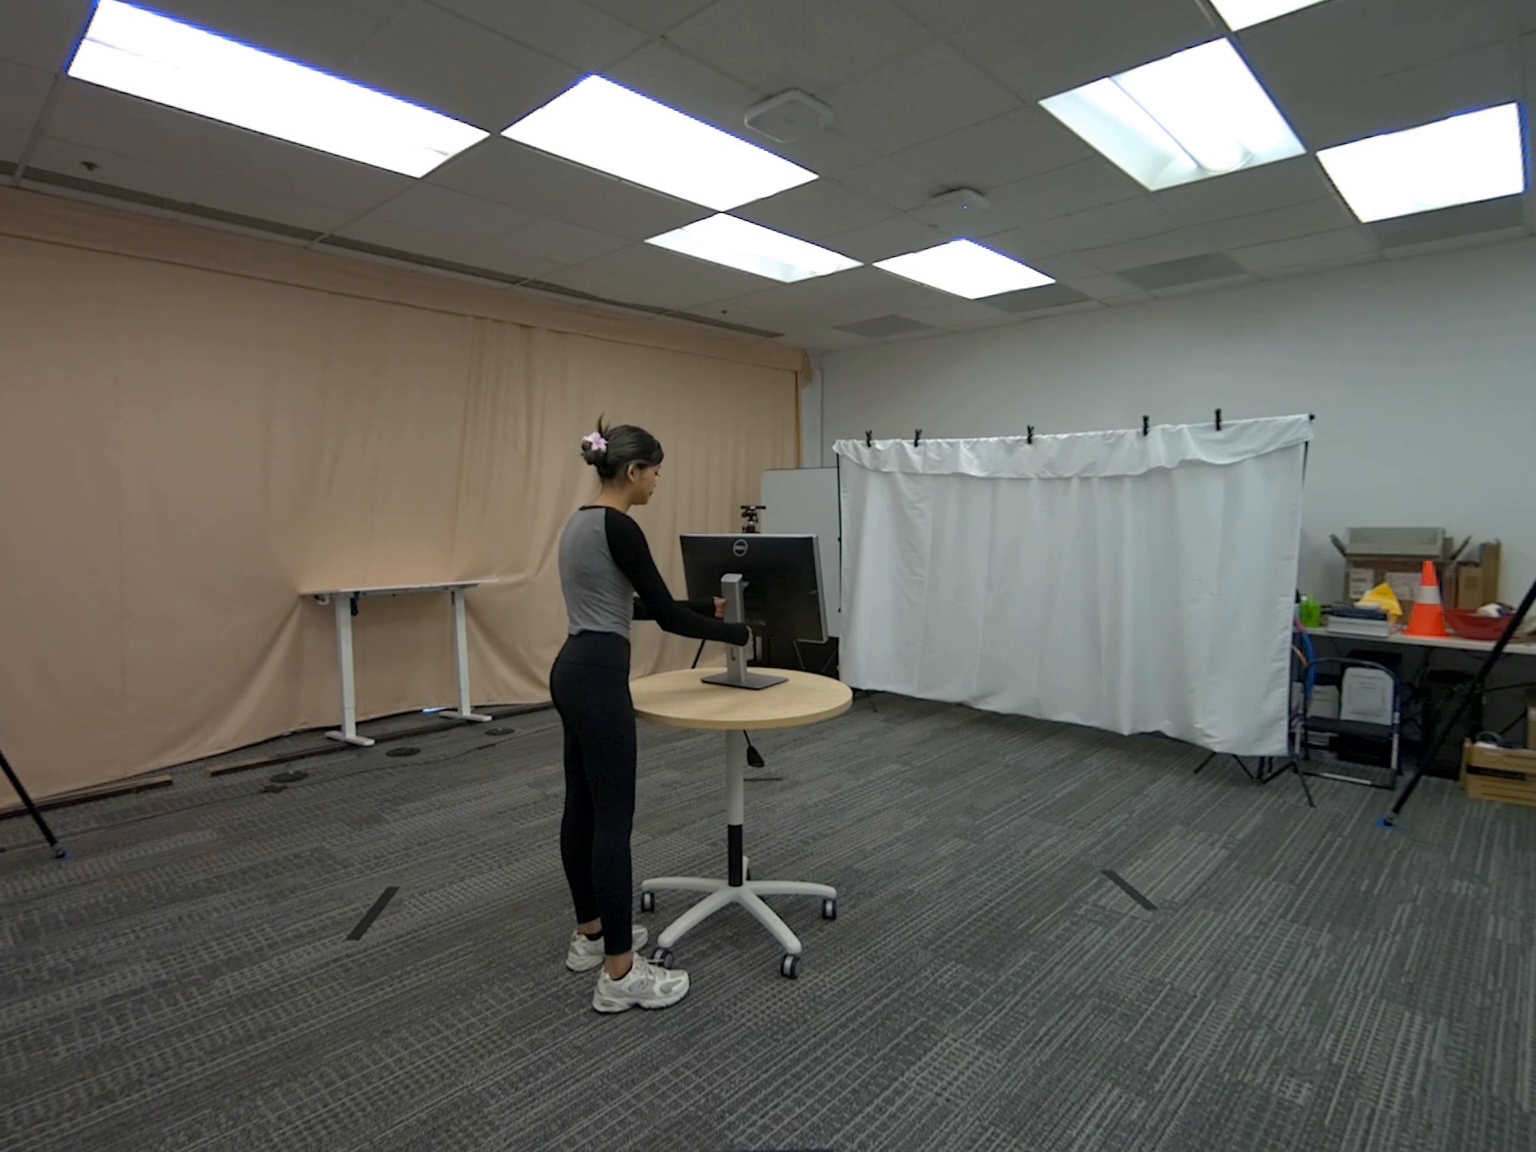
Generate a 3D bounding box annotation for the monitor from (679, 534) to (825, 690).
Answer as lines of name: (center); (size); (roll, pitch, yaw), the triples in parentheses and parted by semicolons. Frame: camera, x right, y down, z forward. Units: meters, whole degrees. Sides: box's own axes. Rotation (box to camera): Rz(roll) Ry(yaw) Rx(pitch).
monitor: (-0.074, 0.115, 2.881); (0.546, 0.517, 0.169); (0, -4, 36)
